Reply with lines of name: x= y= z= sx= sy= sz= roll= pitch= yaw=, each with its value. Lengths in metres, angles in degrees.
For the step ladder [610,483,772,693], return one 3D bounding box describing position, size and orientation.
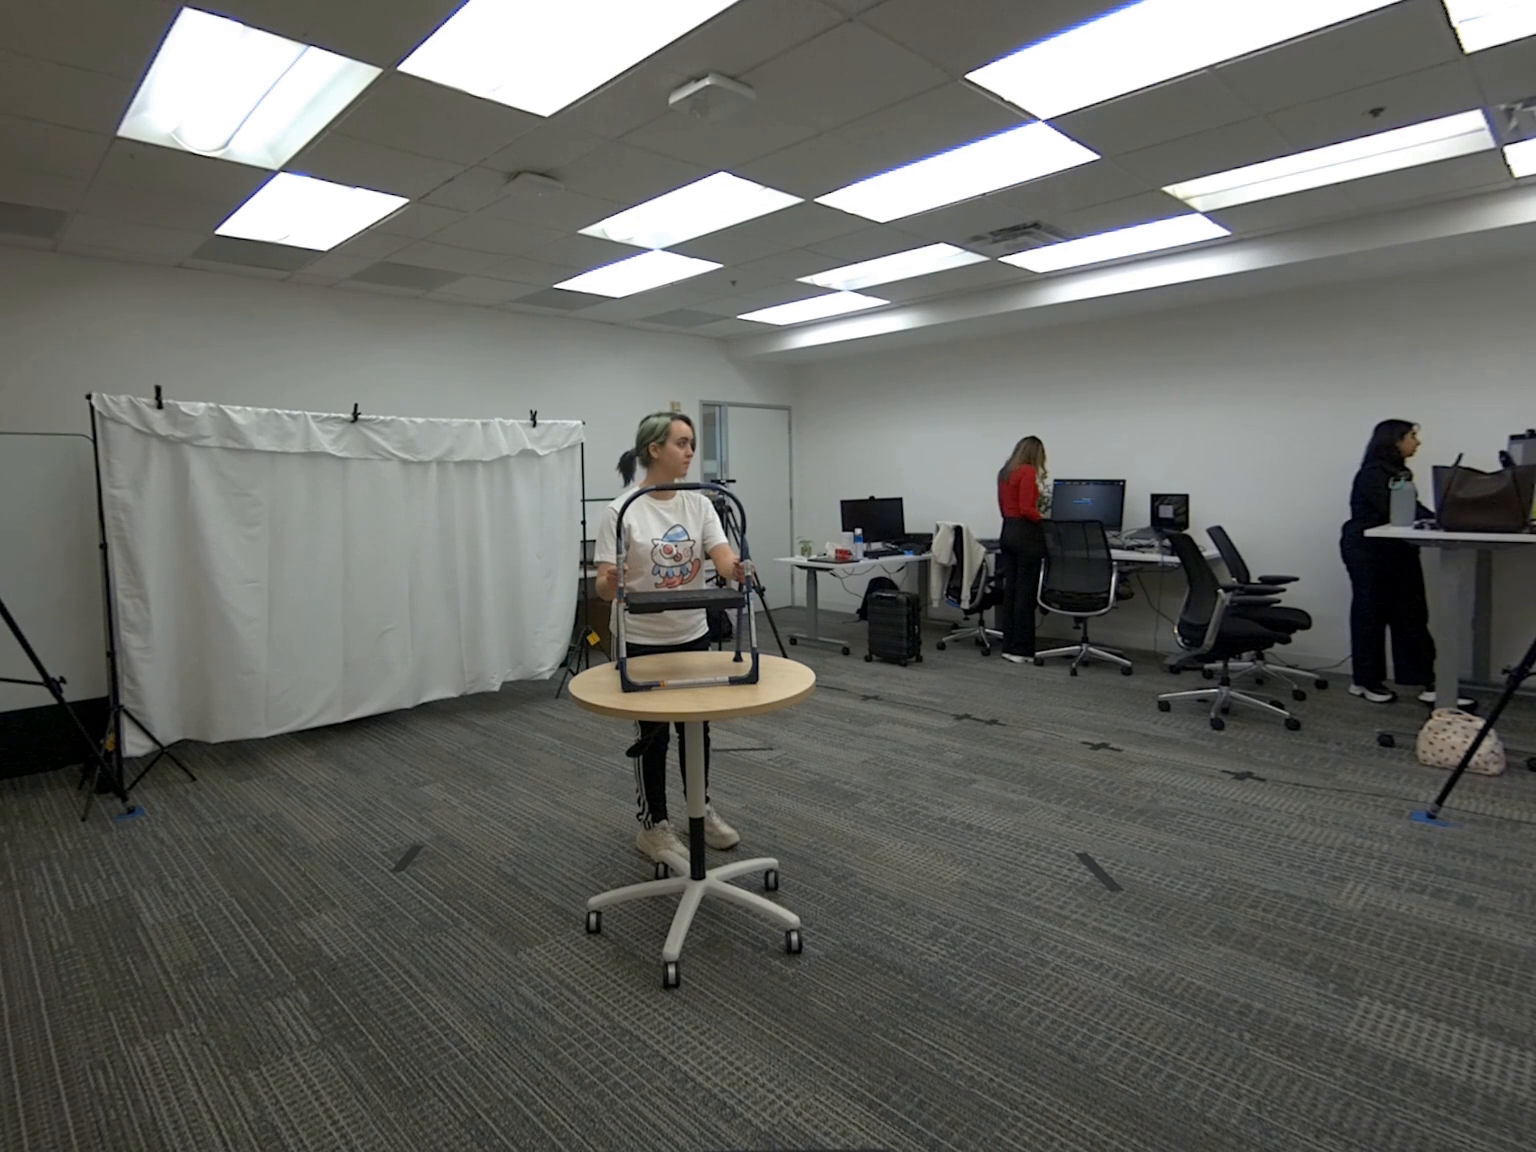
step ladder: x=-0.270 y=0.015 z=2.679 sx=0.427 sy=0.603 sz=0.354 roll=-3 pitch=5 yaw=-10
